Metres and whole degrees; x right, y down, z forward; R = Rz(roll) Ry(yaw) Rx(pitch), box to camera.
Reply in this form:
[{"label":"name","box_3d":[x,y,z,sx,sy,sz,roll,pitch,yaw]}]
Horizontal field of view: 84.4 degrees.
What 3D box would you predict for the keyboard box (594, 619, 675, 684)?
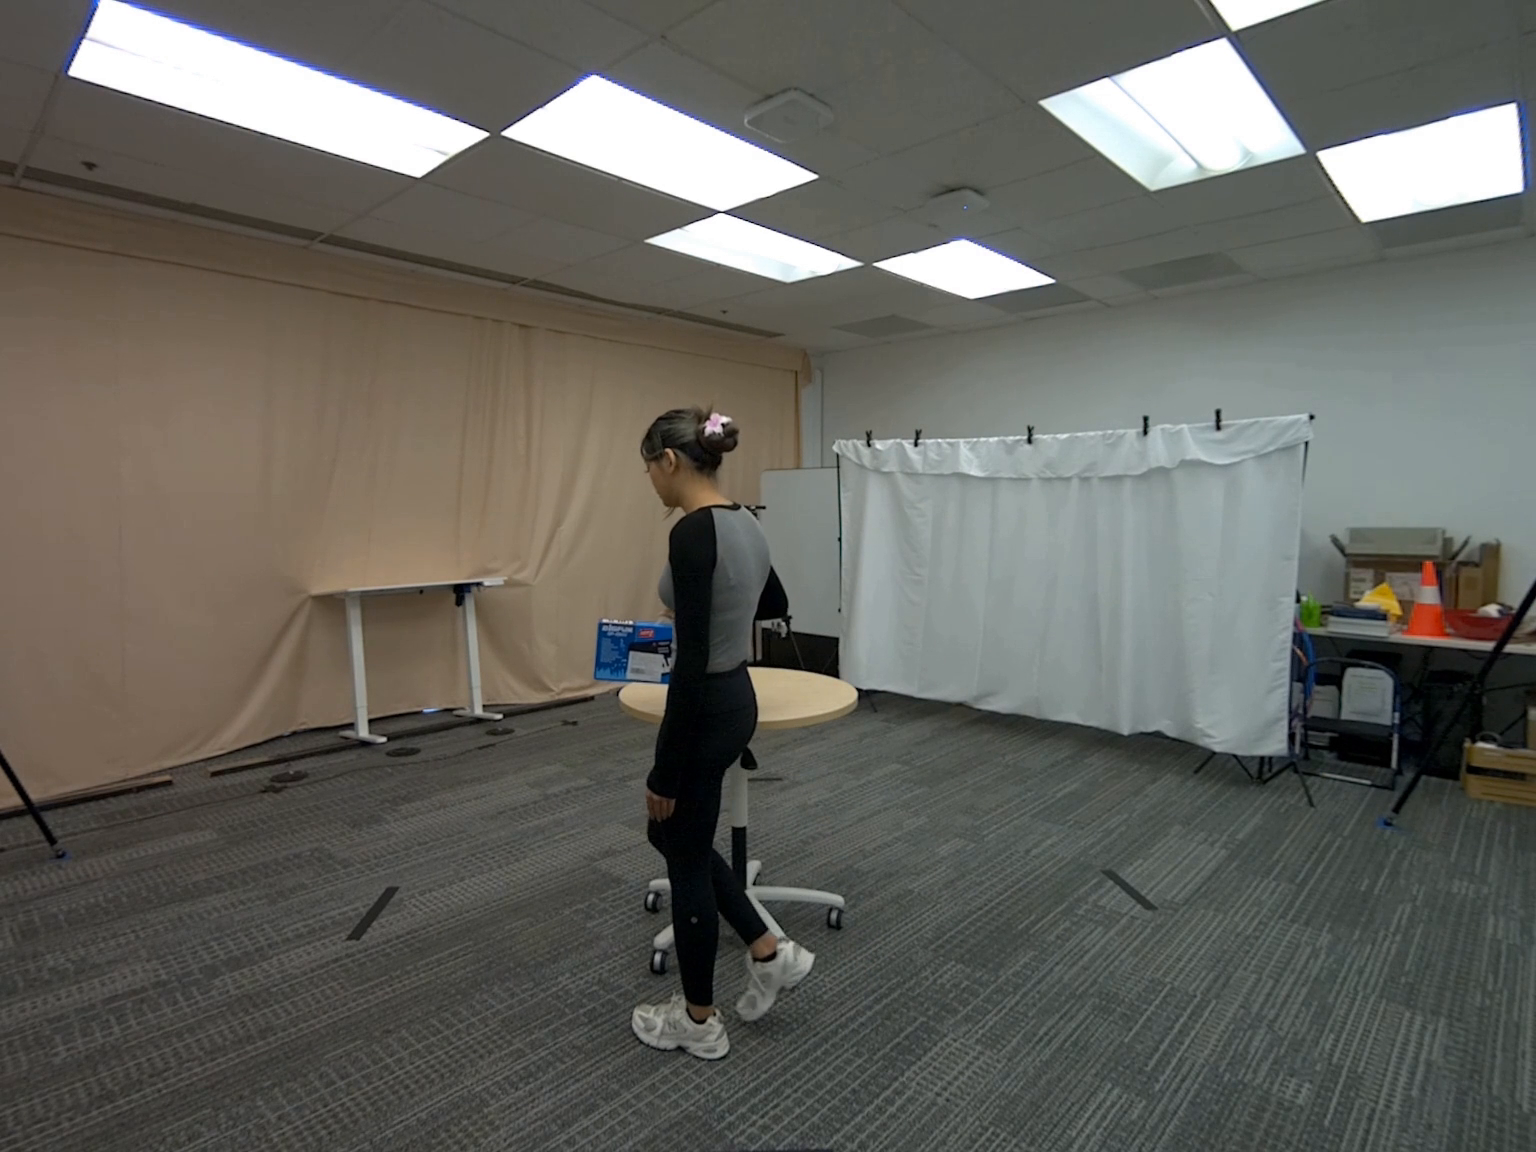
[{"label":"keyboard box","box_3d":[-0.289,0.232,2.491,0.433,0.175,0.060,6,5,-7]}]
